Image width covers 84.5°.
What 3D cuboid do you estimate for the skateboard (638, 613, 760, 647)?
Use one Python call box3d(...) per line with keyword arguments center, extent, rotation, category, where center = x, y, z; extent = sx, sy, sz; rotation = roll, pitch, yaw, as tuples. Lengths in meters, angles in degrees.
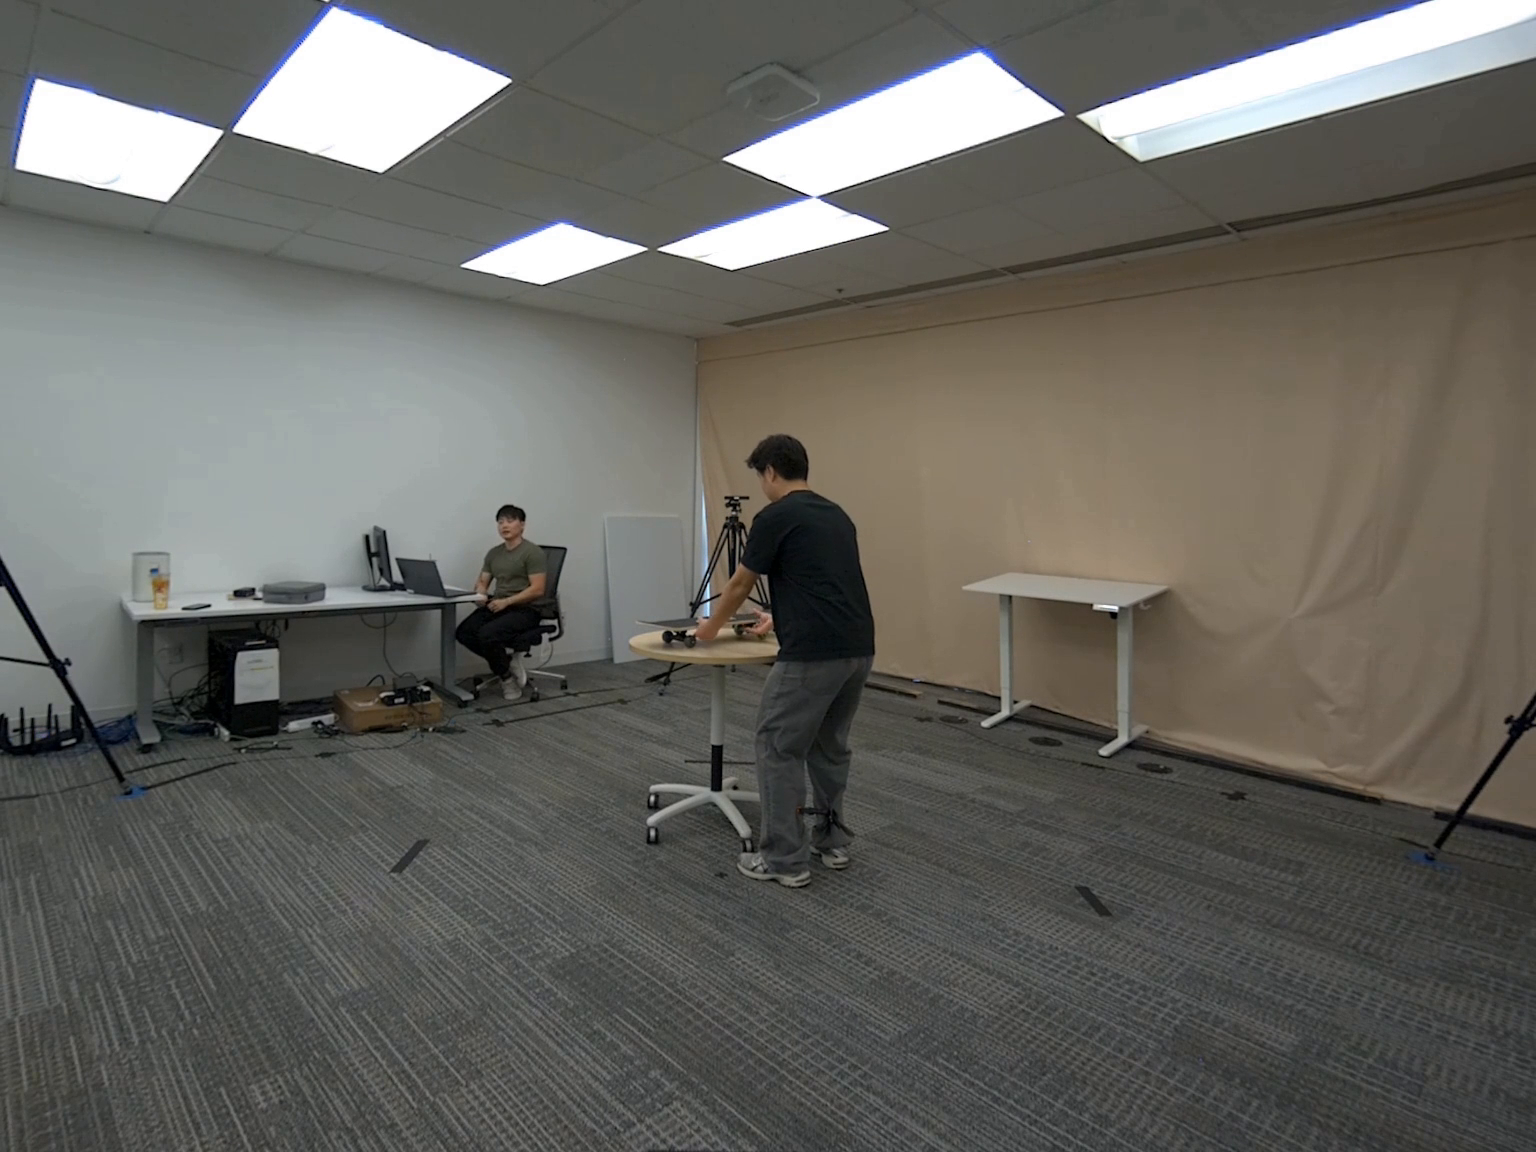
box3d(center=(-0.233, 0.220, 3.602), extent=(0.768, 0.110, 0.198), rotation=(-3, 6, -39), category="skateboard")
